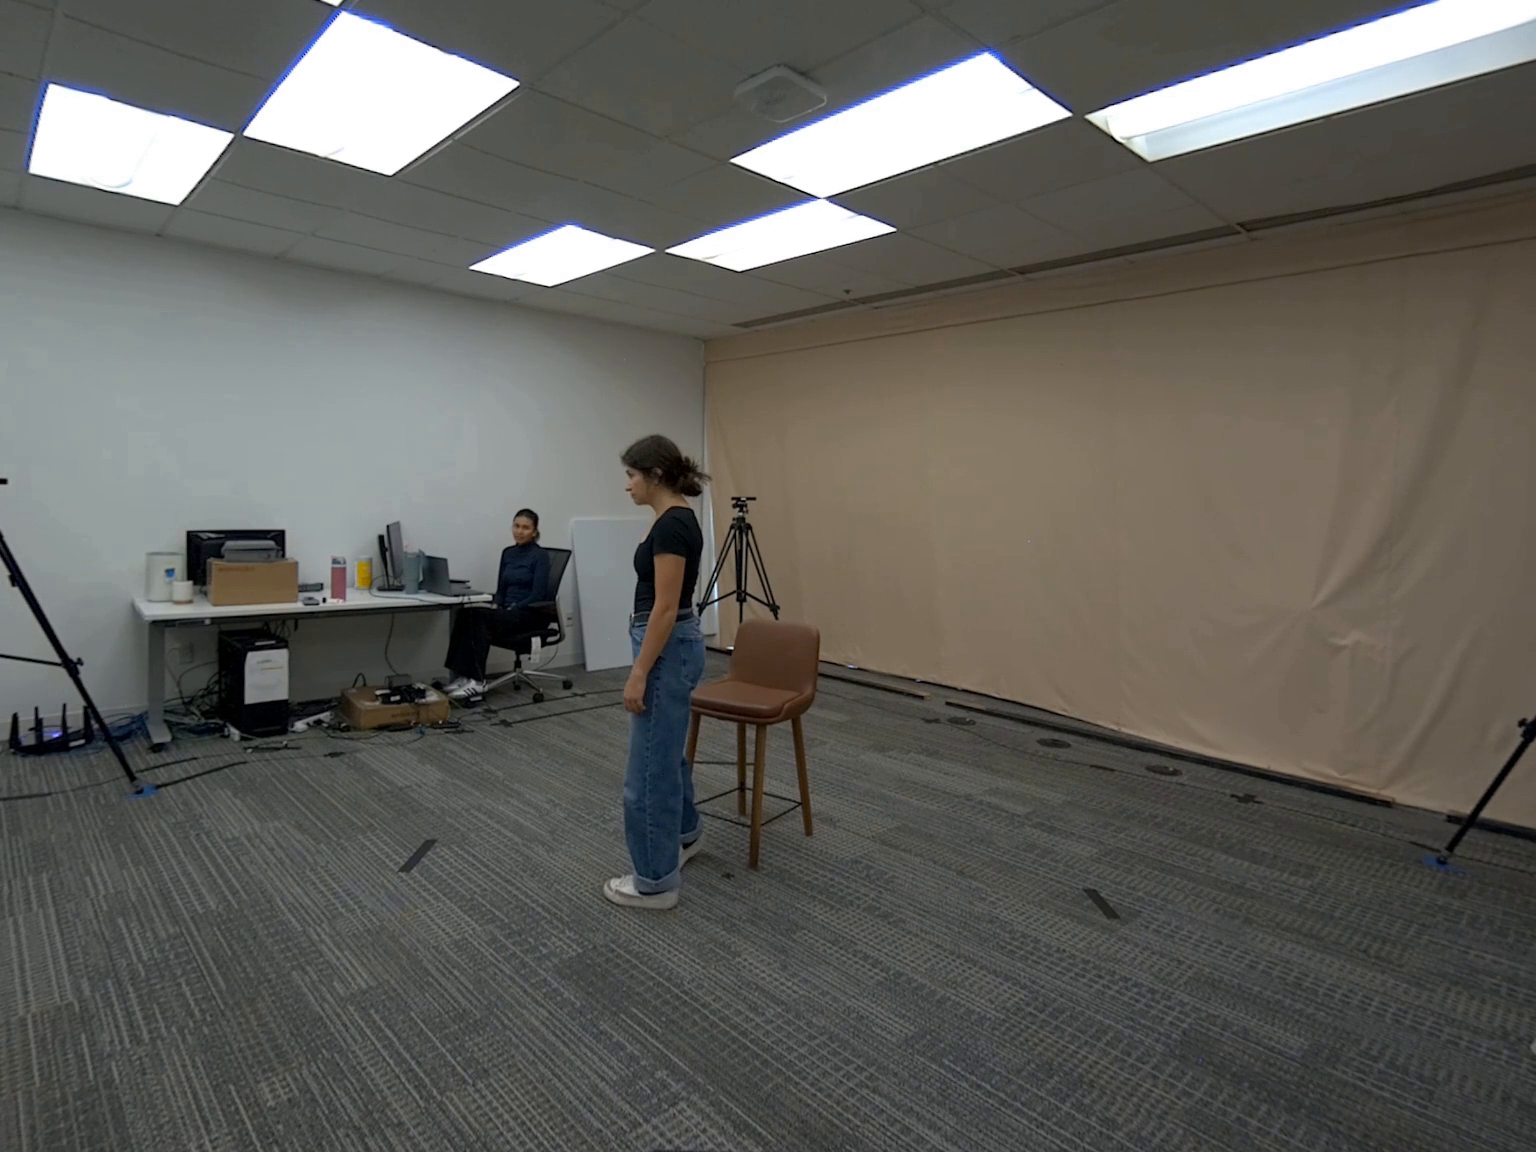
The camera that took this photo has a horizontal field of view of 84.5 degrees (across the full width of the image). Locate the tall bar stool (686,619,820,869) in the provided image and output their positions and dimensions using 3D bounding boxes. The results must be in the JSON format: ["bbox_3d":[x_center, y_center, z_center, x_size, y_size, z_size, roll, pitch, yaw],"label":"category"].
[{"bbox_3d":[-0.080,0.645,3.430,0.467,0.889,0.457,4,2,36],"label":"tall bar stool"}]
